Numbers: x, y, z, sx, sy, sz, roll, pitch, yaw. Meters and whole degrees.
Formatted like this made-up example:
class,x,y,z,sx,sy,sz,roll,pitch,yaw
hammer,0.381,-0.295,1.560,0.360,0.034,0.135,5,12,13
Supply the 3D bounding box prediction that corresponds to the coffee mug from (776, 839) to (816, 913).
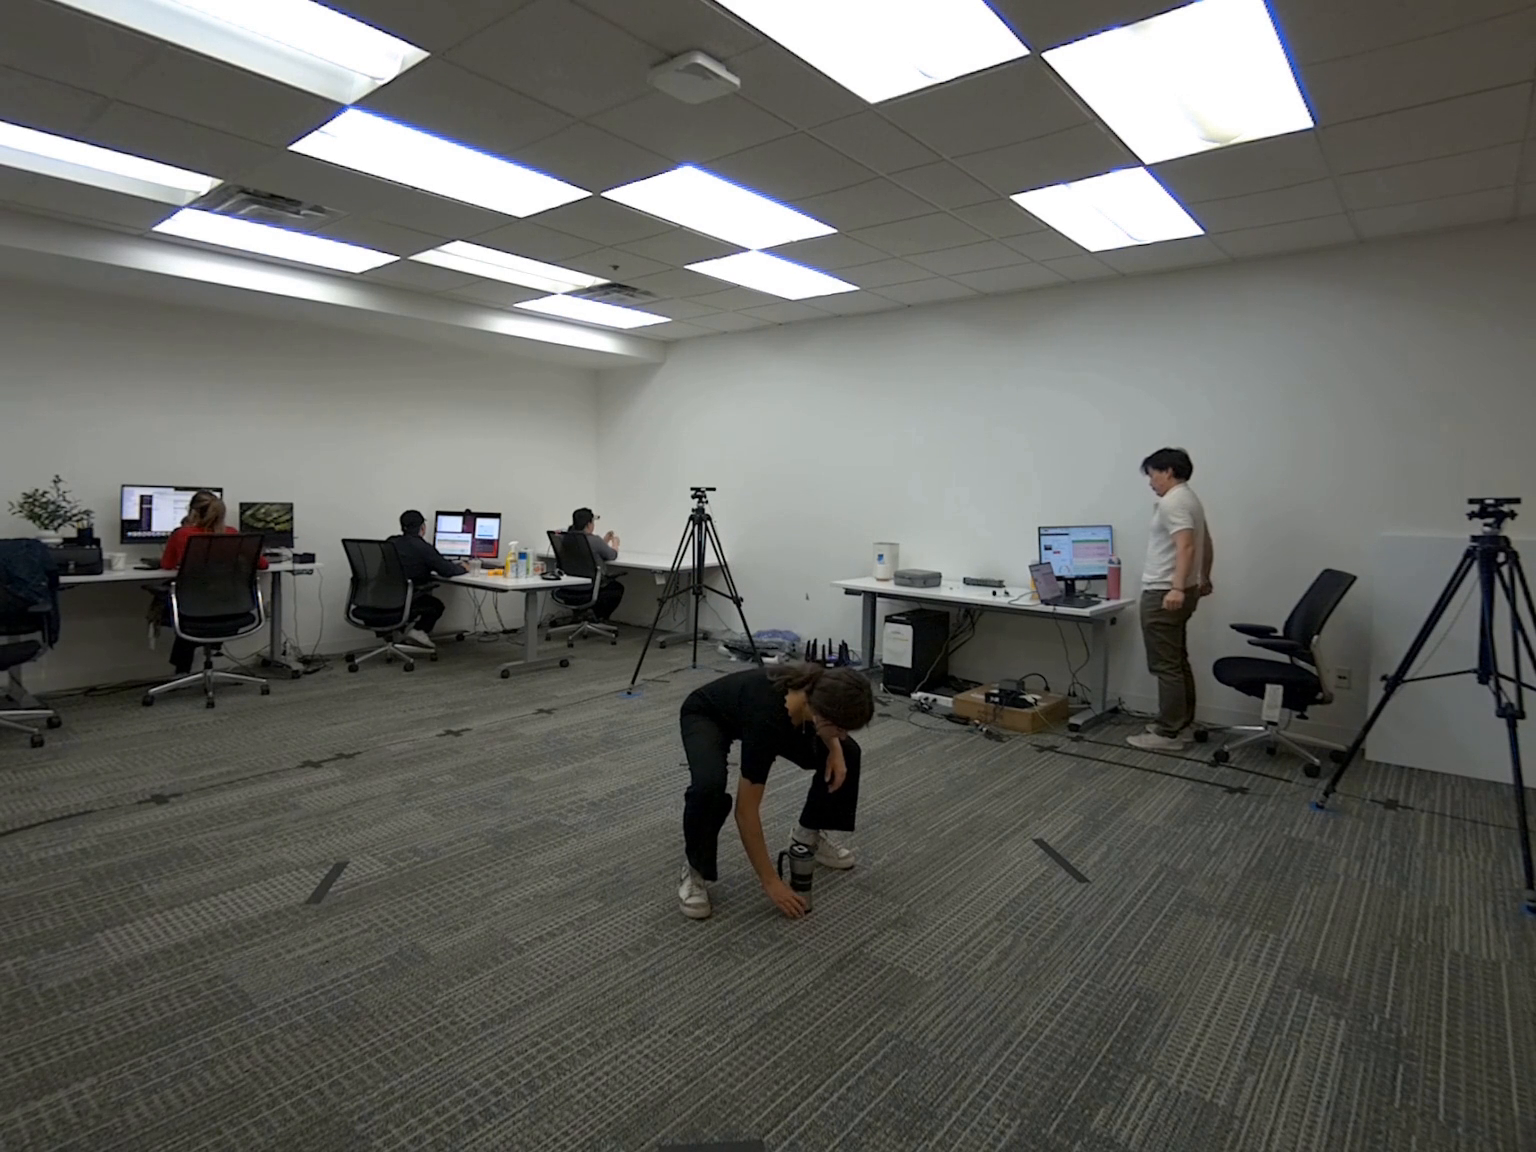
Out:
class,x,y,z,sx,sy,sz,roll,pitch,yaw
coffee mug,0.090,1.008,2.830,0.126,0.201,0.085,7,9,39
